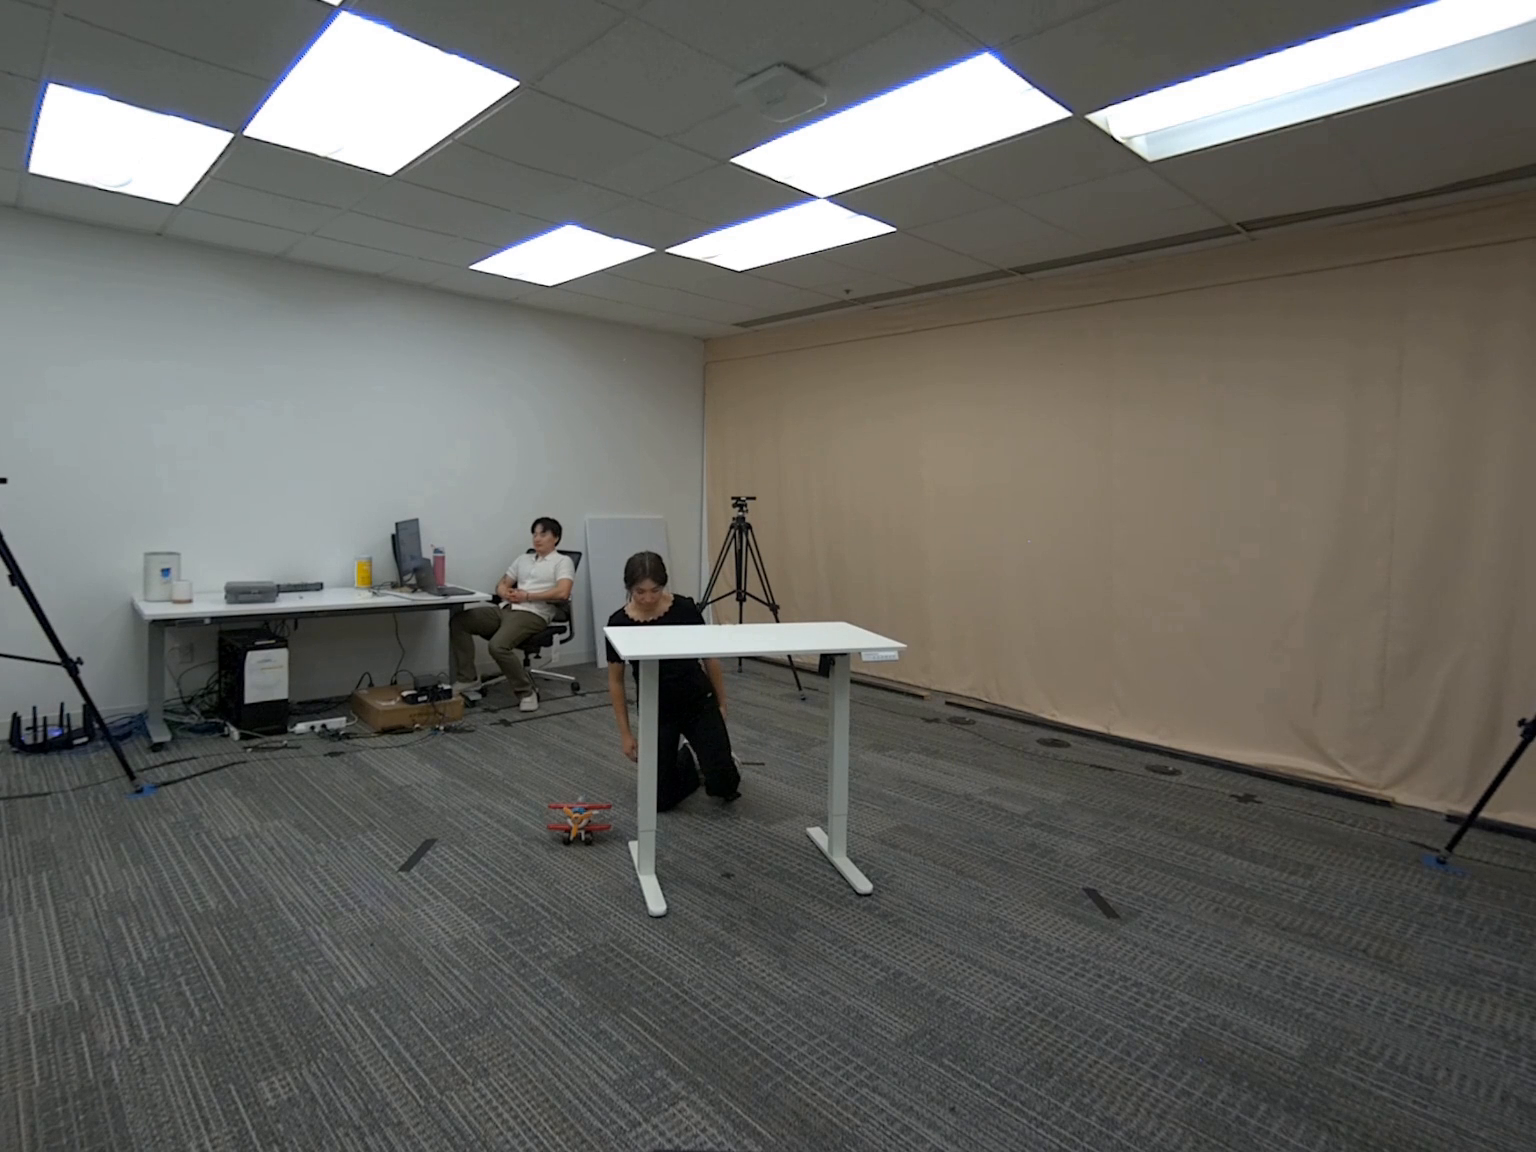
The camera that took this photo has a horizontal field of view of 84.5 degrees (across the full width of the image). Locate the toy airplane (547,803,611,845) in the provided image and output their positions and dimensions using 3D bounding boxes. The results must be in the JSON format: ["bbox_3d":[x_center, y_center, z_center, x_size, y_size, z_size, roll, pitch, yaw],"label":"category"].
[{"bbox_3d":[-0.791,0.988,3.427,0.246,0.156,0.265,-2,6,-31],"label":"toy airplane"}]
